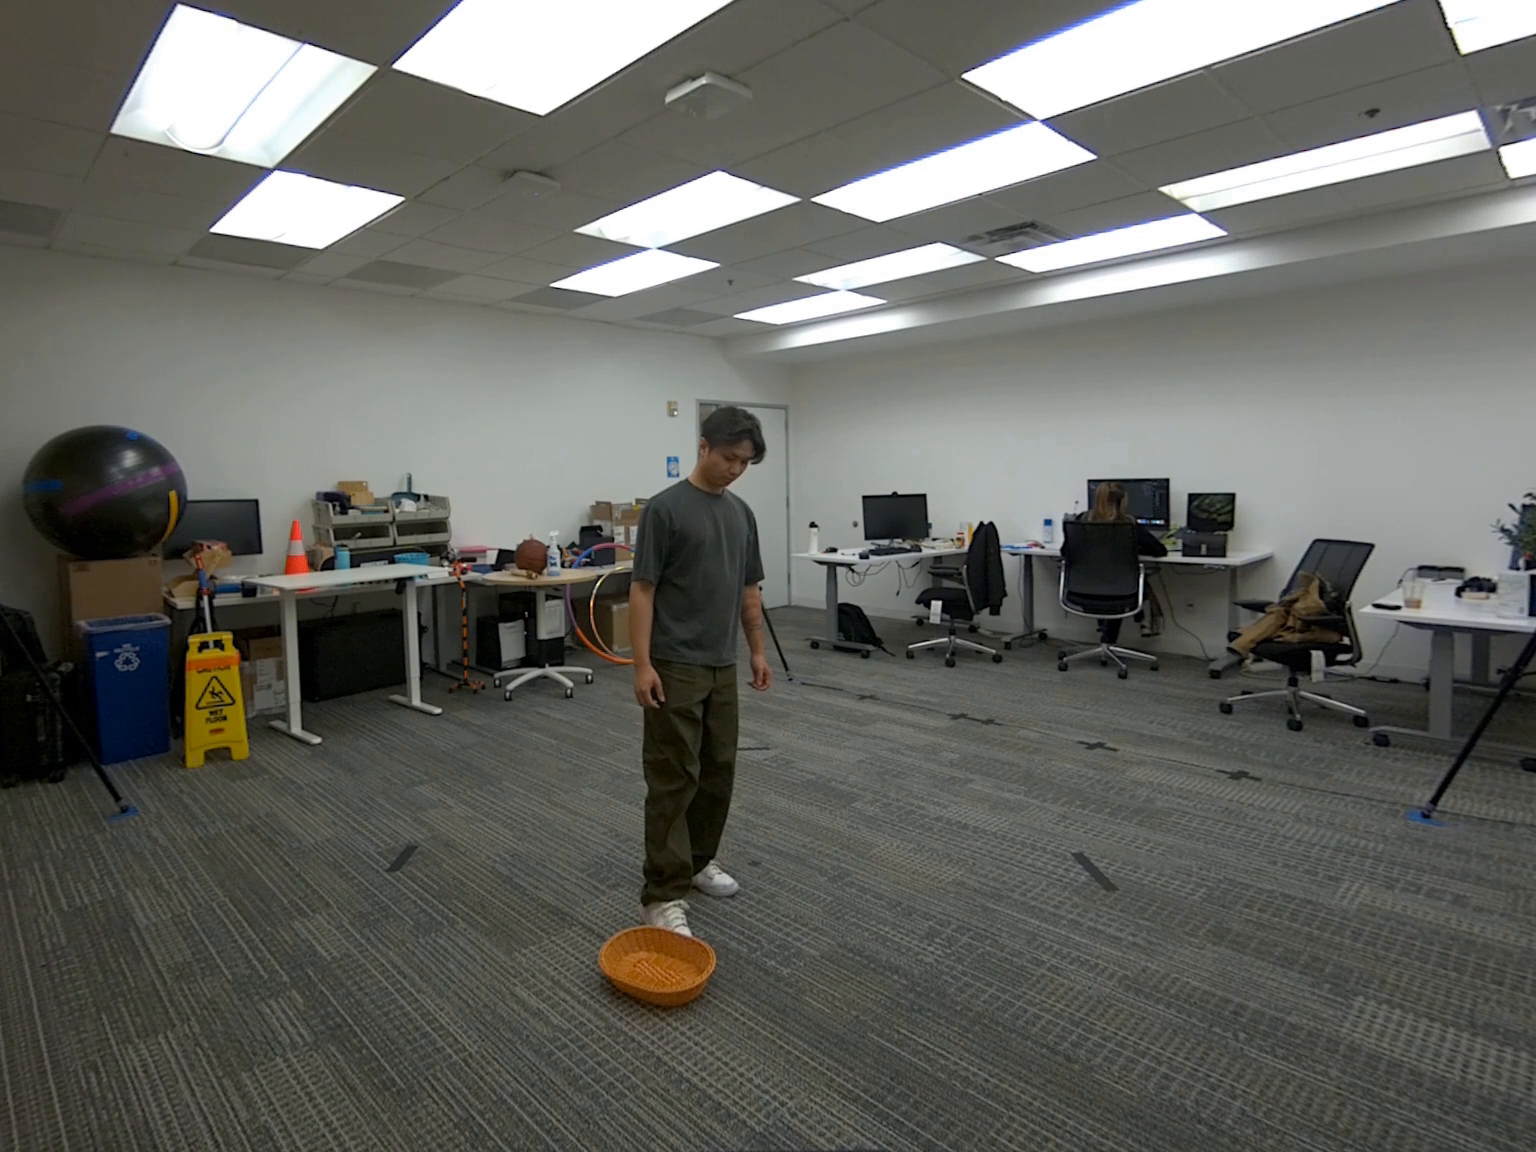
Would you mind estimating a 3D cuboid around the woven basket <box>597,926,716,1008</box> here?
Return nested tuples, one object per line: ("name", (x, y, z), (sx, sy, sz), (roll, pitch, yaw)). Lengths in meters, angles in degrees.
("woven basket", (-0.309, 1.099, 2.382), (0.360, 0.073, 0.247), (3, 12, 34))
